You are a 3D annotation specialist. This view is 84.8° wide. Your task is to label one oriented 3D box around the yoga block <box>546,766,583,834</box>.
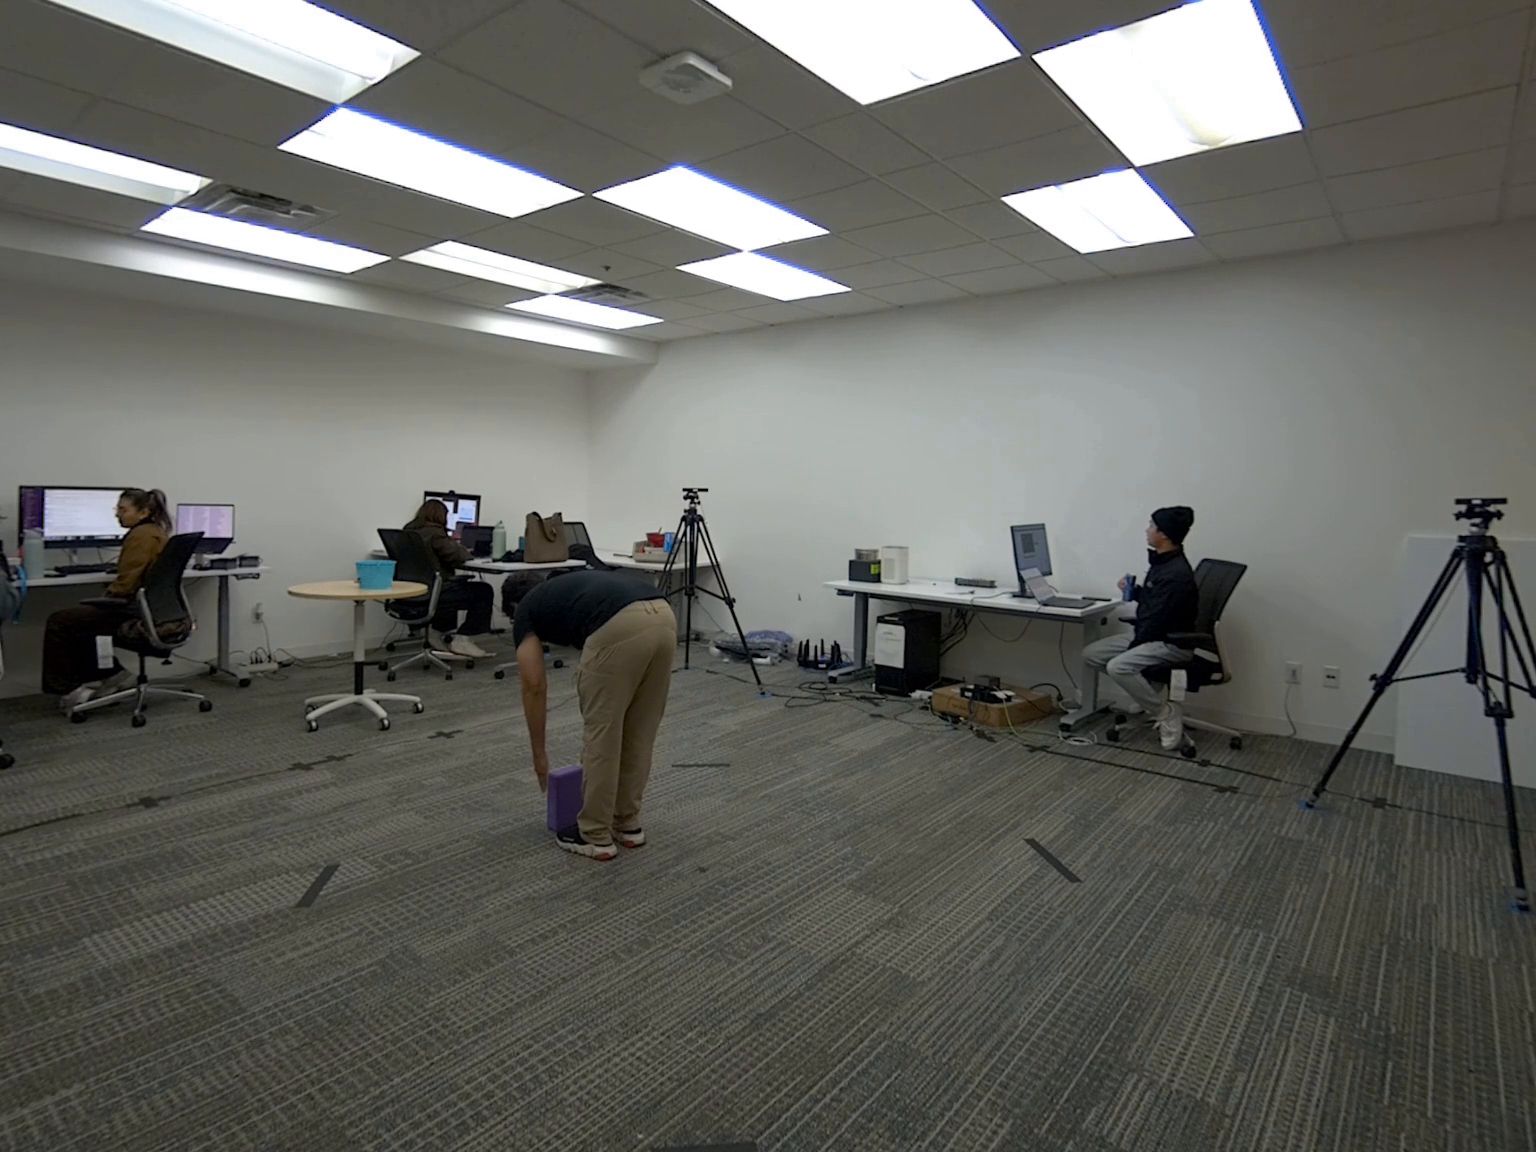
[{"bbox_3d":[-0.833,0.898,3.480,0.079,0.228,0.145,8,8,40],"label":"yoga block"}]
